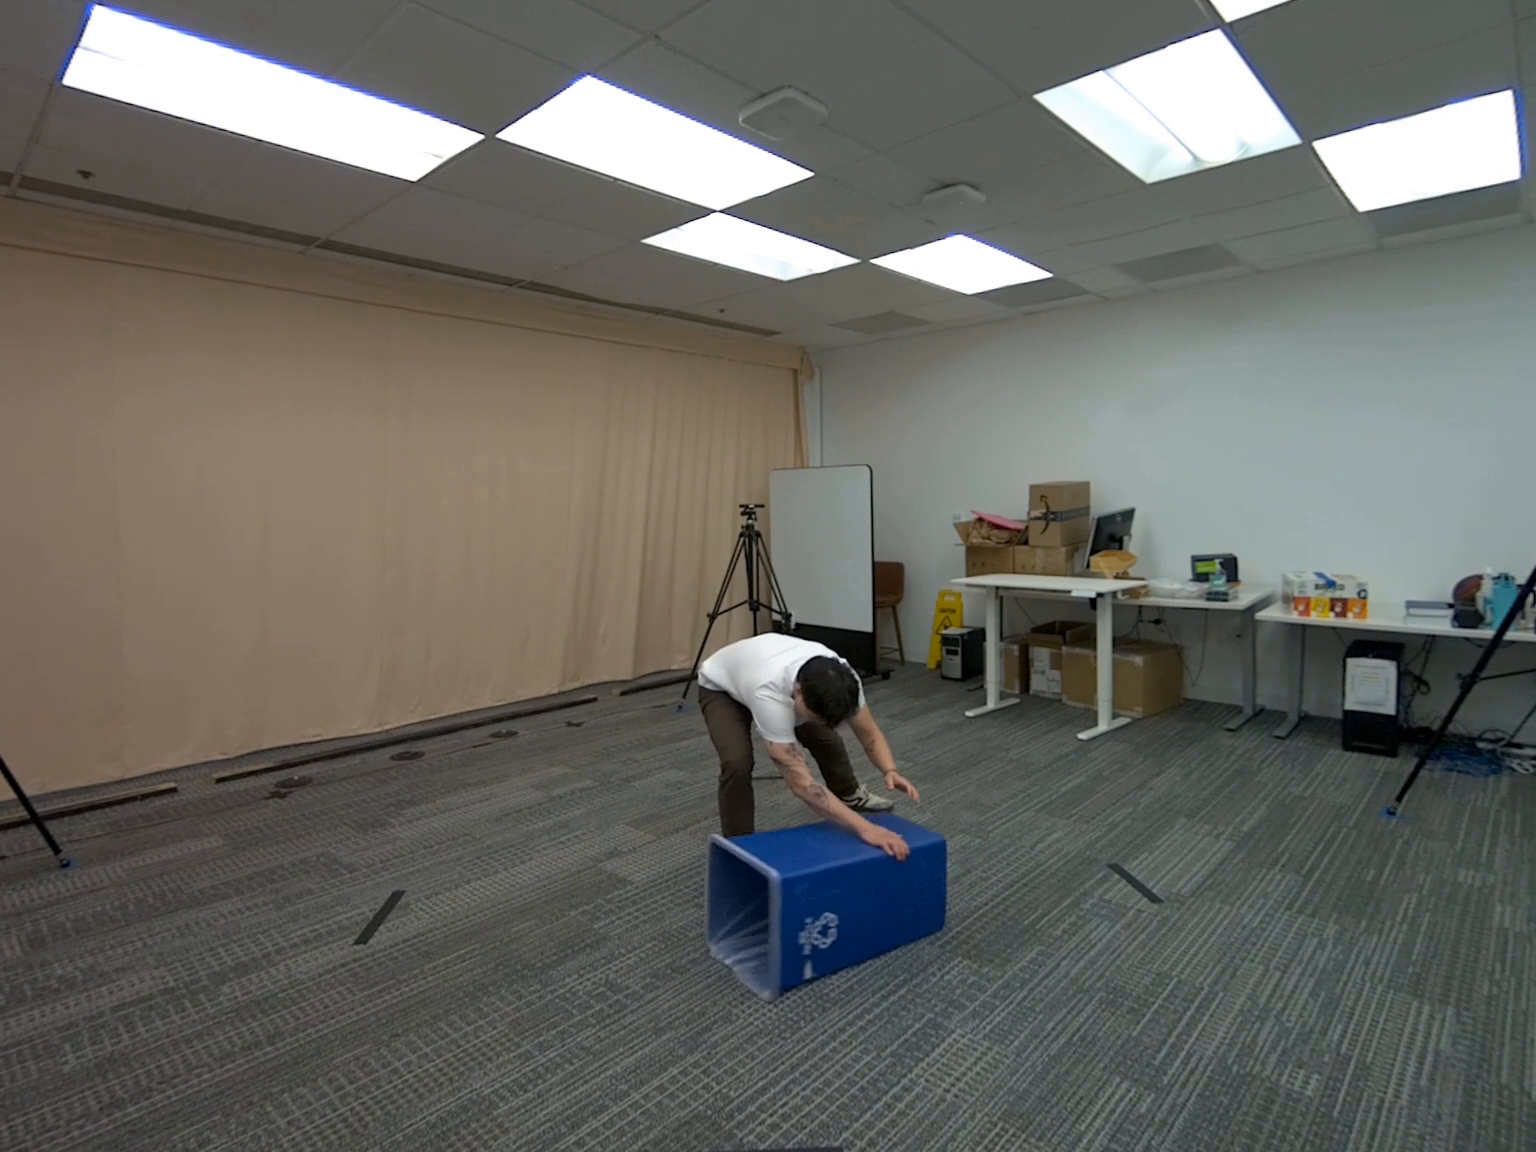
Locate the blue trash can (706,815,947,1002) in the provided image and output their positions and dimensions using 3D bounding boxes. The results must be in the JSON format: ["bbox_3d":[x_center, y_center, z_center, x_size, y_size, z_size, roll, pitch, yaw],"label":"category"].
[{"bbox_3d":[0.199,0.990,2.679,0.694,0.377,0.385,-2,3,-32],"label":"blue trash can"}]
